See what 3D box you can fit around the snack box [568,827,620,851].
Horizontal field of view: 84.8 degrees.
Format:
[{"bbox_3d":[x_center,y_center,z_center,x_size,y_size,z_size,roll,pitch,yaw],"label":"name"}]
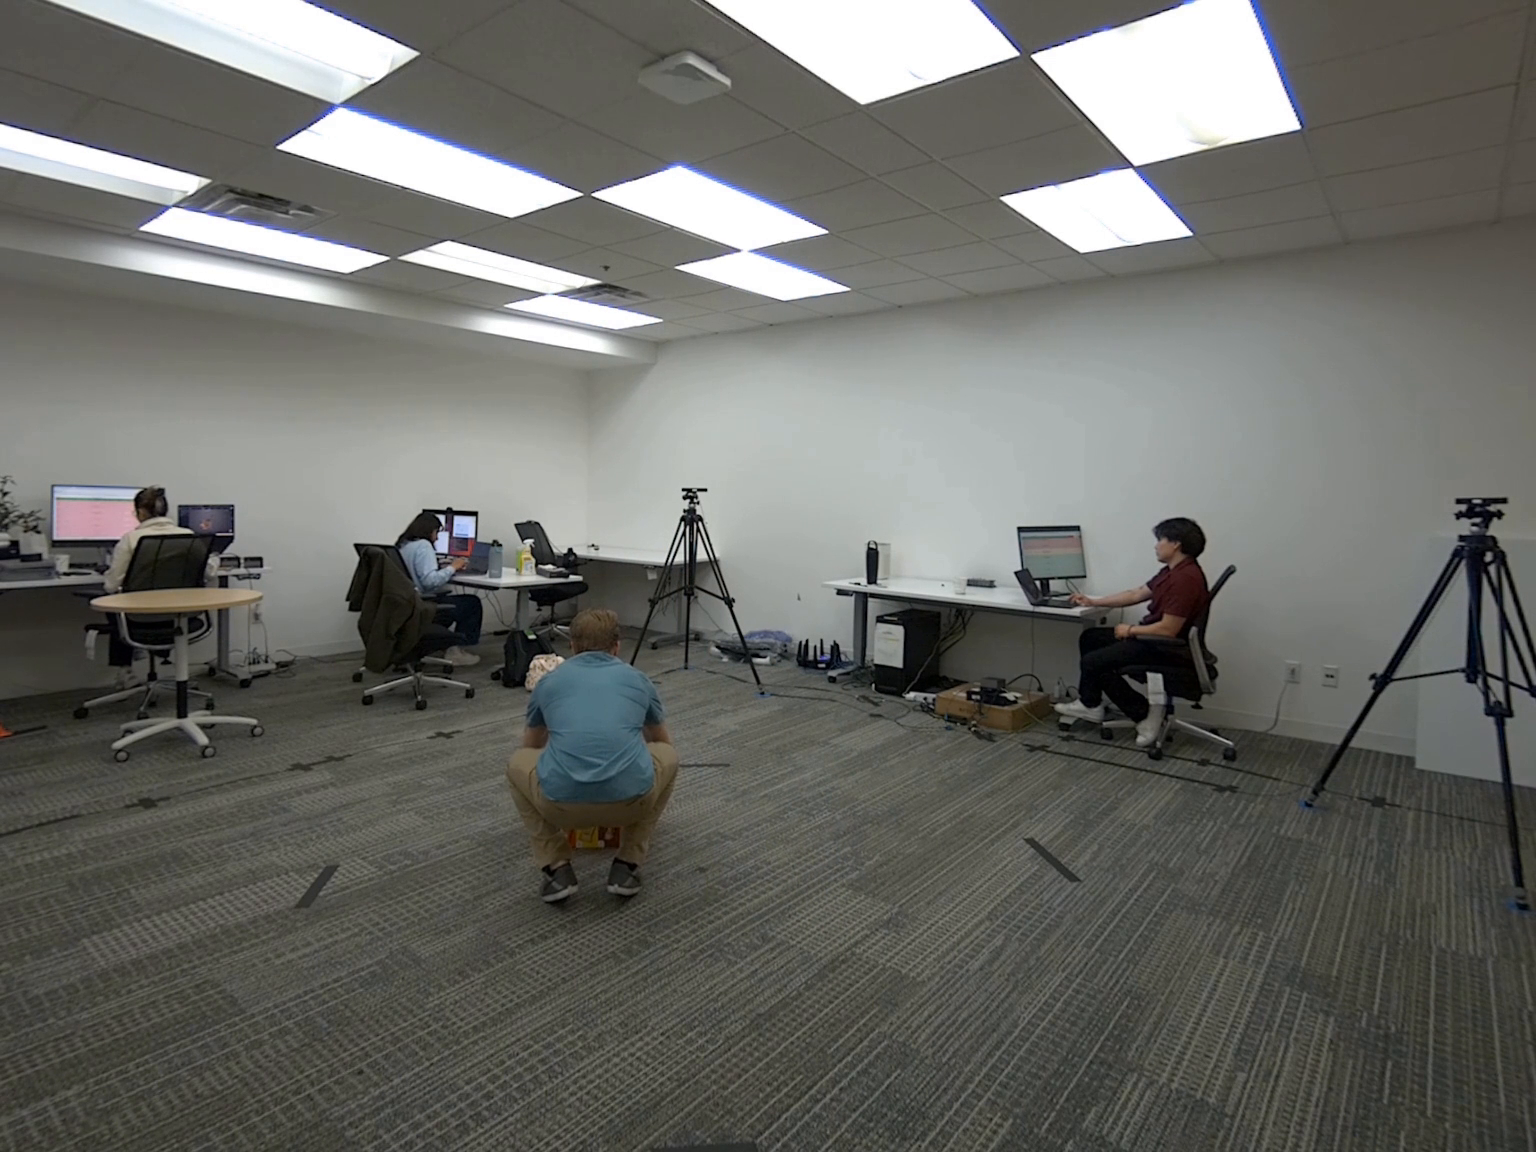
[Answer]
[{"bbox_3d":[-0.693,0.916,3.482,0.337,0.205,0.410,0,5,-9],"label":"snack box"}]
